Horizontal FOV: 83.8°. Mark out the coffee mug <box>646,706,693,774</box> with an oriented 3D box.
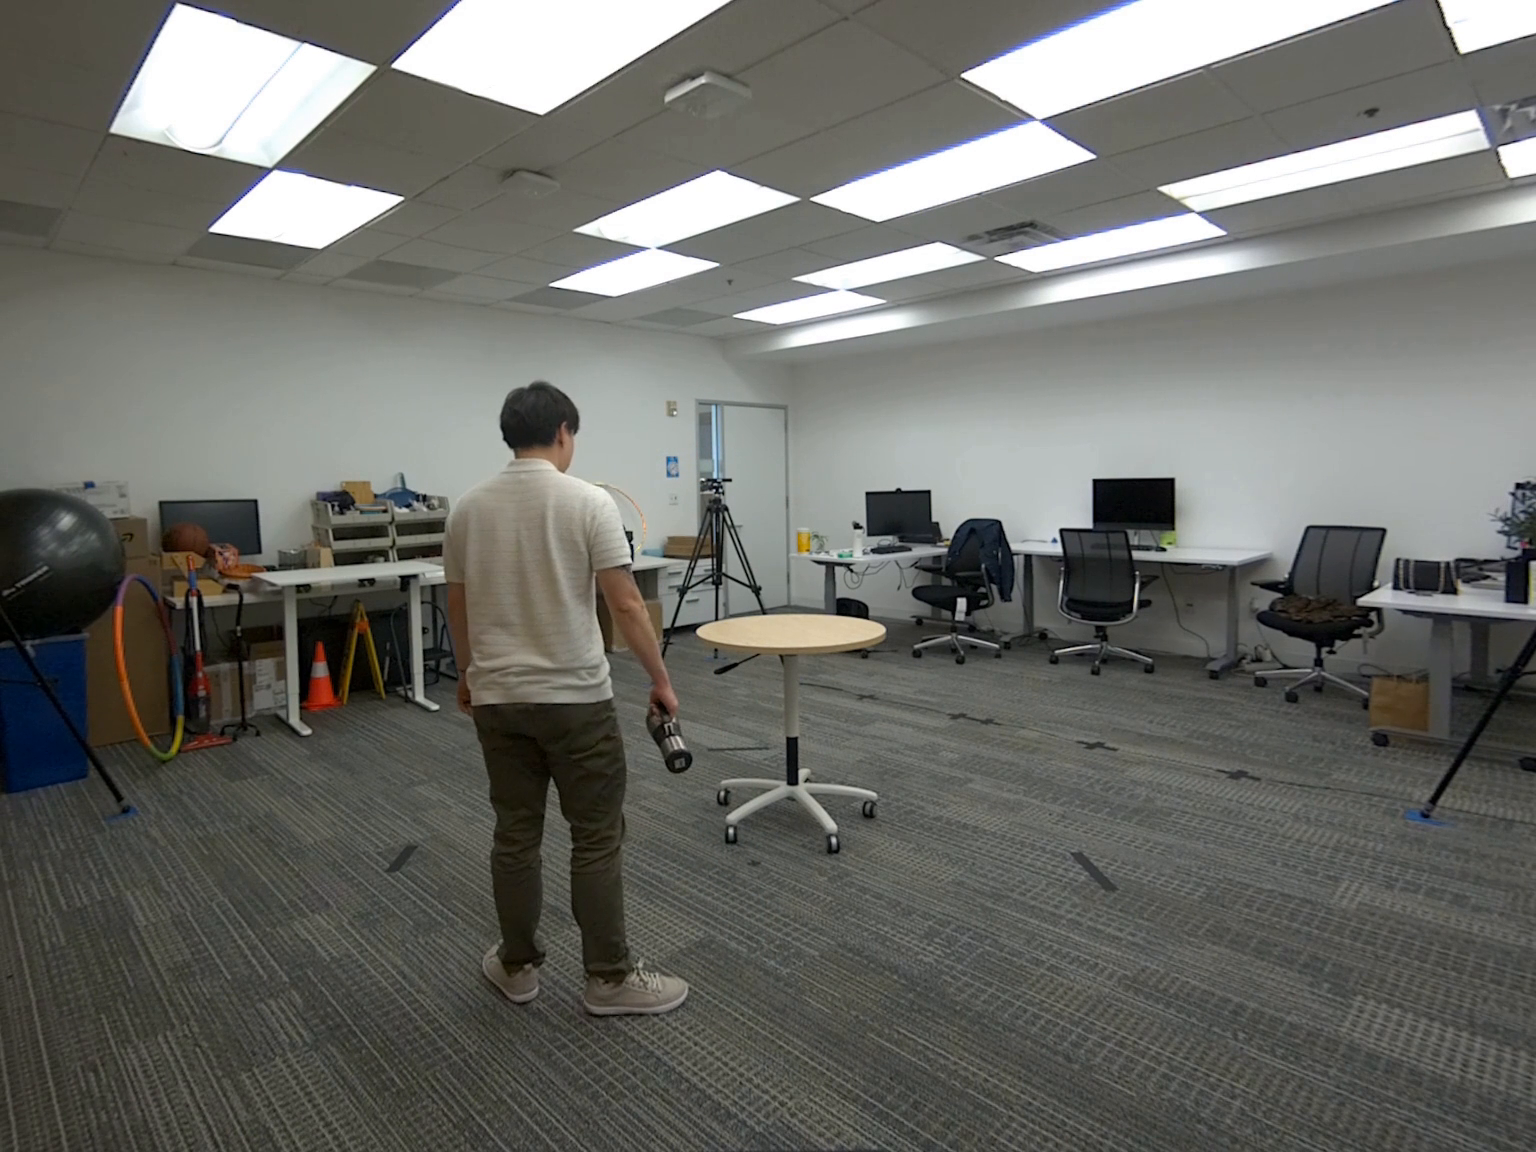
[{"bbox_3d":[-0.284,0.423,2.293,0.088,0.119,0.208,-25,23,1],"label":"coffee mug"}]
